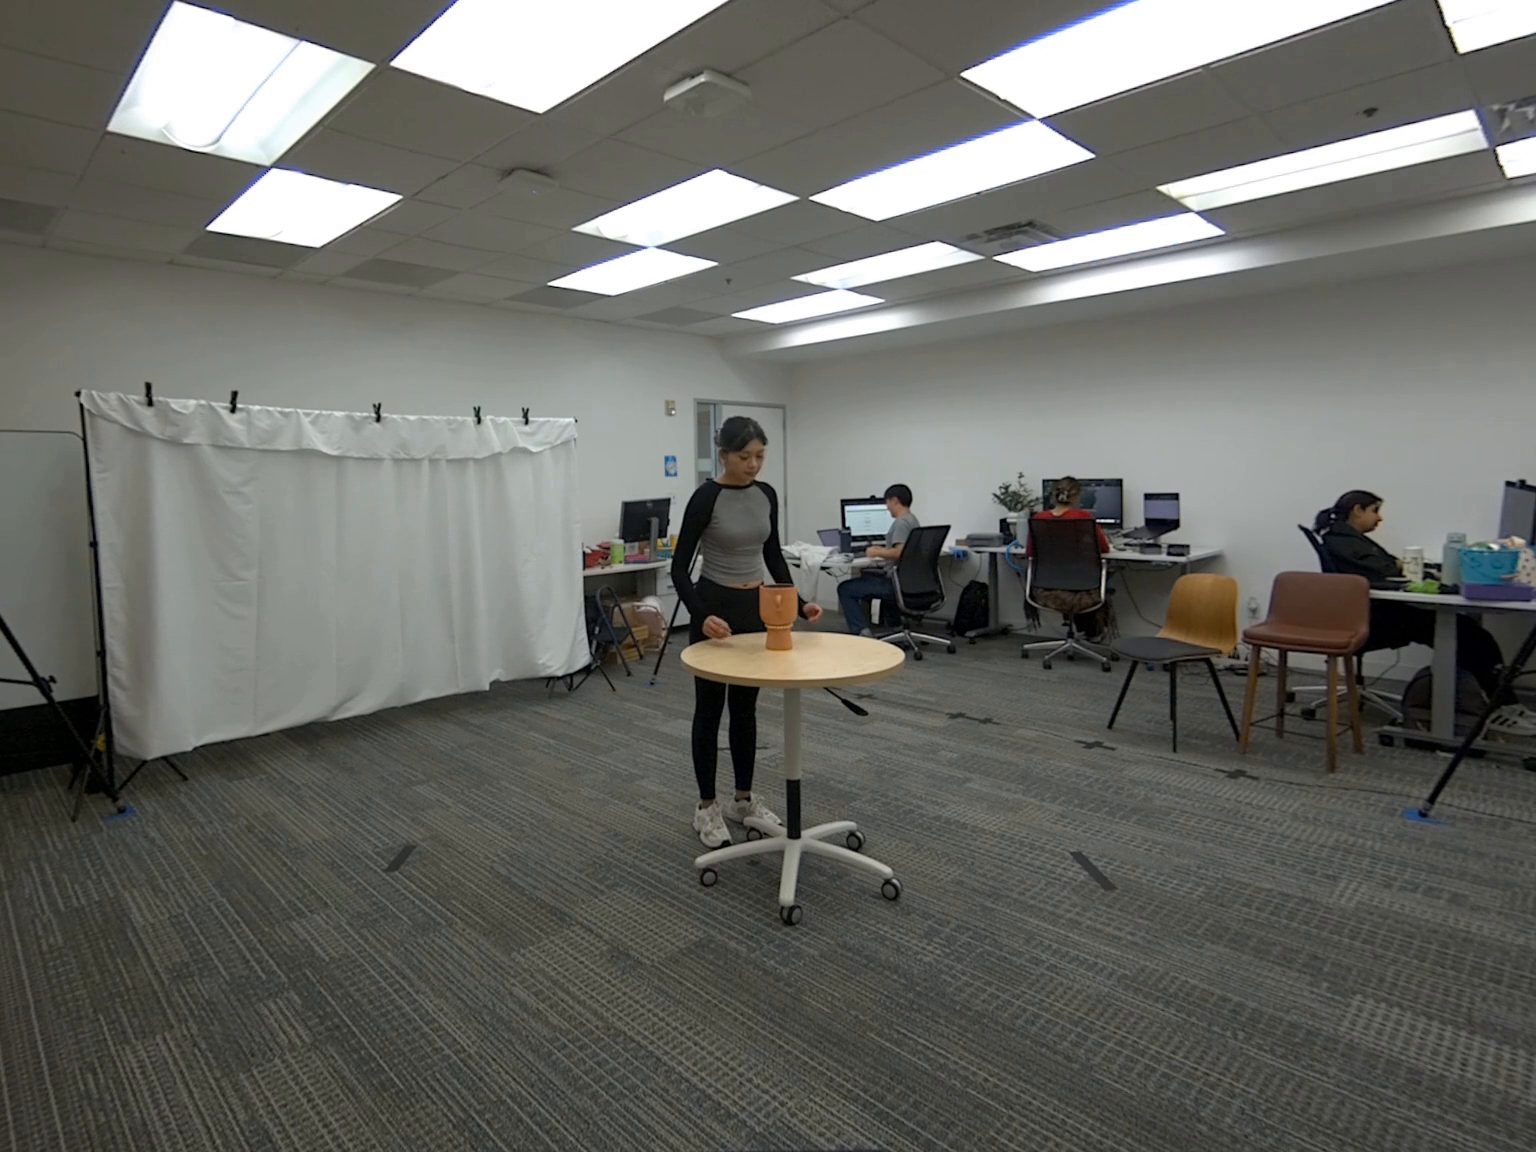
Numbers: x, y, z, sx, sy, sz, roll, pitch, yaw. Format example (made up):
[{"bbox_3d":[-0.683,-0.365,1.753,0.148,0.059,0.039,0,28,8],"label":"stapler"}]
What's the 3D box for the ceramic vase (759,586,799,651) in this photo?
[{"bbox_3d":[0.042,0.148,3.026,0.139,0.219,0.155,2,6,41],"label":"ceramic vase"}]
